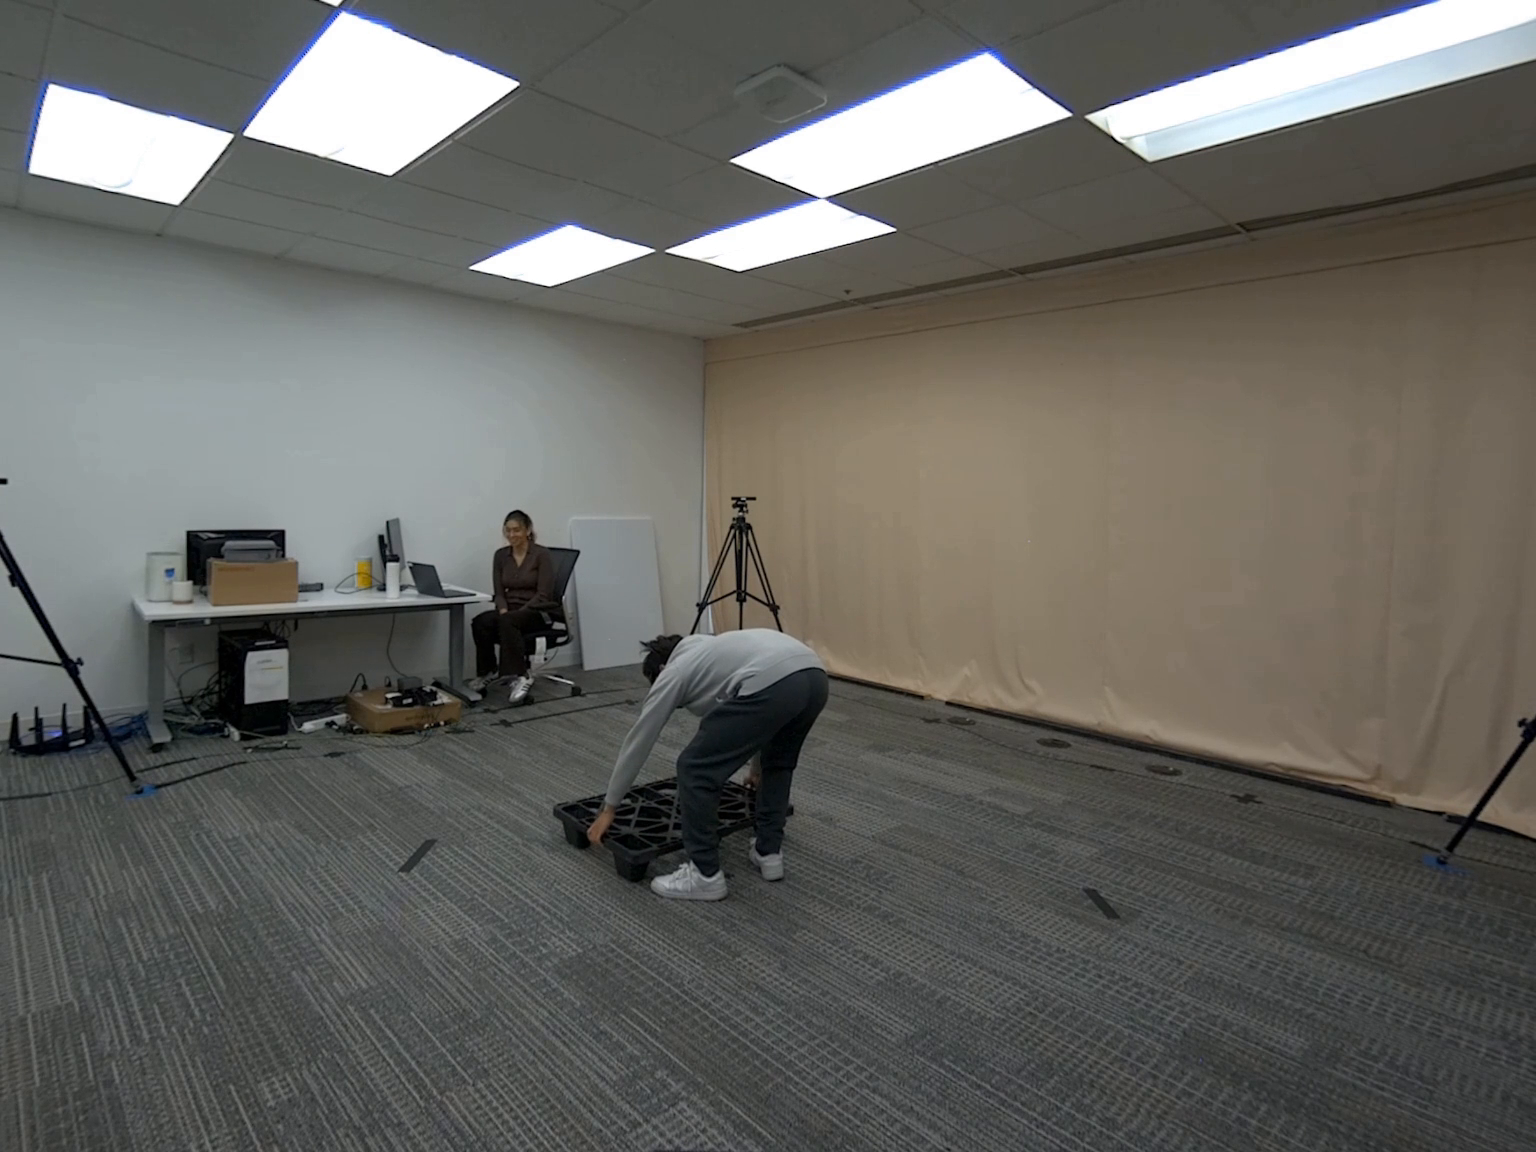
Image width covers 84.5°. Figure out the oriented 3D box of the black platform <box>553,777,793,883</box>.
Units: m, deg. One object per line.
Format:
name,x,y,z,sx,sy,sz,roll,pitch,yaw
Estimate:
black platform,-0.387,1.003,3.437,0.787,0.143,0.620,-3,6,-41
